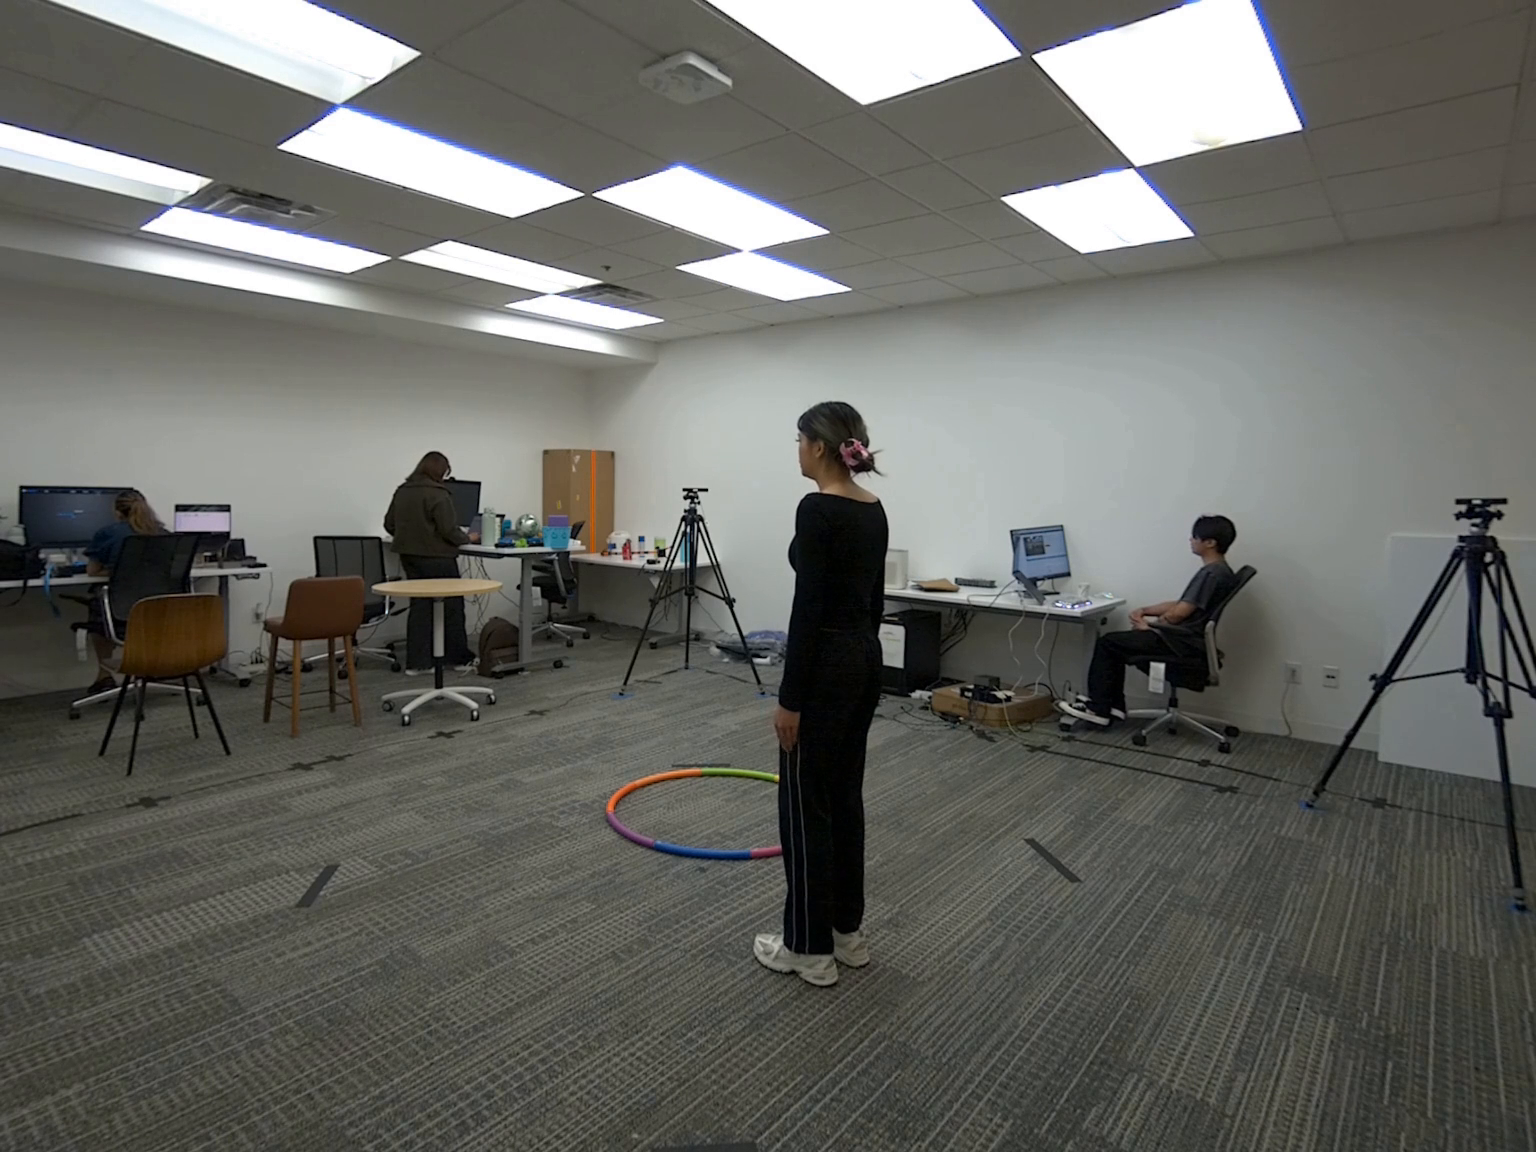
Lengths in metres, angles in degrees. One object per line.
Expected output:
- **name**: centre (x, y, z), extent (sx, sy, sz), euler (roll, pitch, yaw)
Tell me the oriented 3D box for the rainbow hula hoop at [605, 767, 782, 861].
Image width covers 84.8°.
- **rainbow hula hoop**: centre (-0.215, 0.987, 3.667), extent (0.978, 0.035, 0.984), euler (0, 6, -2)
